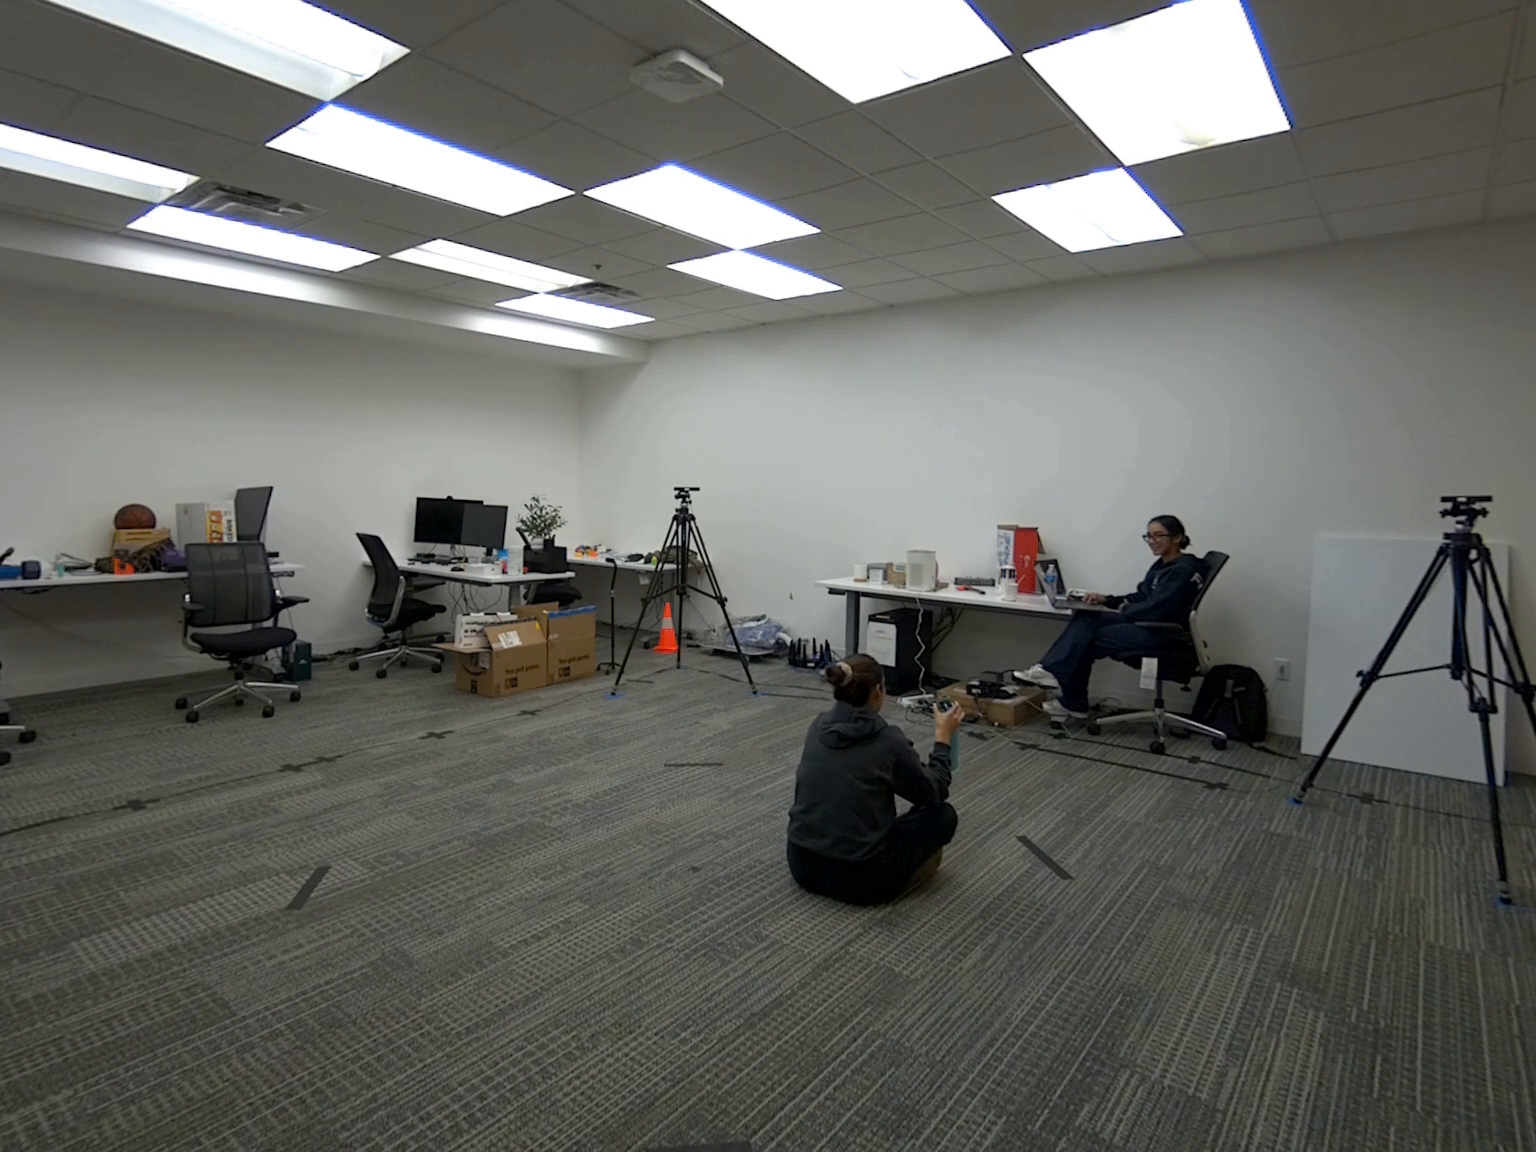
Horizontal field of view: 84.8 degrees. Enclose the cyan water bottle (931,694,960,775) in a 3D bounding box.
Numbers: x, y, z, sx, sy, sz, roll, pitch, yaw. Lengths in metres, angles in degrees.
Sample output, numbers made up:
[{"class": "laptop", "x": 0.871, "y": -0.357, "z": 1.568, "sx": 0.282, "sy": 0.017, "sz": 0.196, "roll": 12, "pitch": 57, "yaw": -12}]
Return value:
[{"class": "cyan water bottle", "x": 0.676, "y": 0.587, "z": 3.197, "sx": 0.092, "sy": 0.280, "sz": 0.093, "roll": -2, "pitch": 12, "yaw": -1}]
